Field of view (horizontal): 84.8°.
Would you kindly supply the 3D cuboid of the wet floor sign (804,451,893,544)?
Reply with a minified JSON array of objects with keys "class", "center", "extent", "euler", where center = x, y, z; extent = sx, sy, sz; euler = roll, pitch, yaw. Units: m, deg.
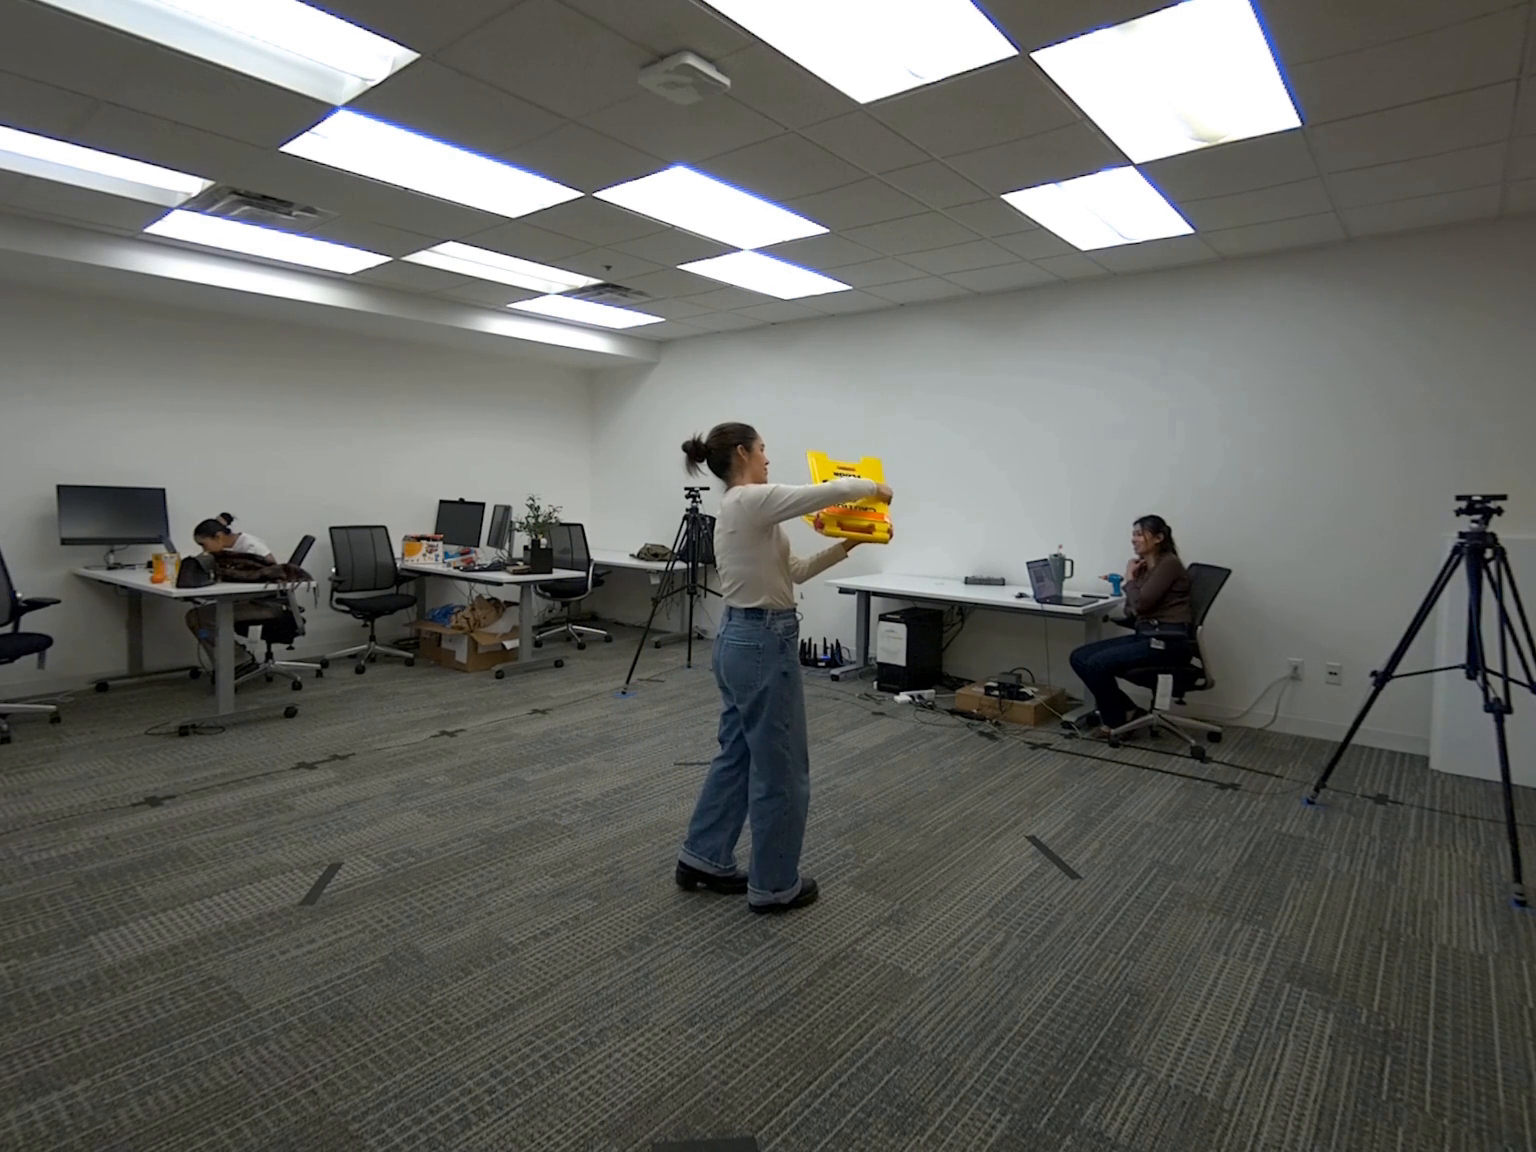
[{"class":"wet floor sign","center":[0.258,-0.215,2.880],"extent":[0.282,0.285,0.657],"euler":[6,19,-3]}]
